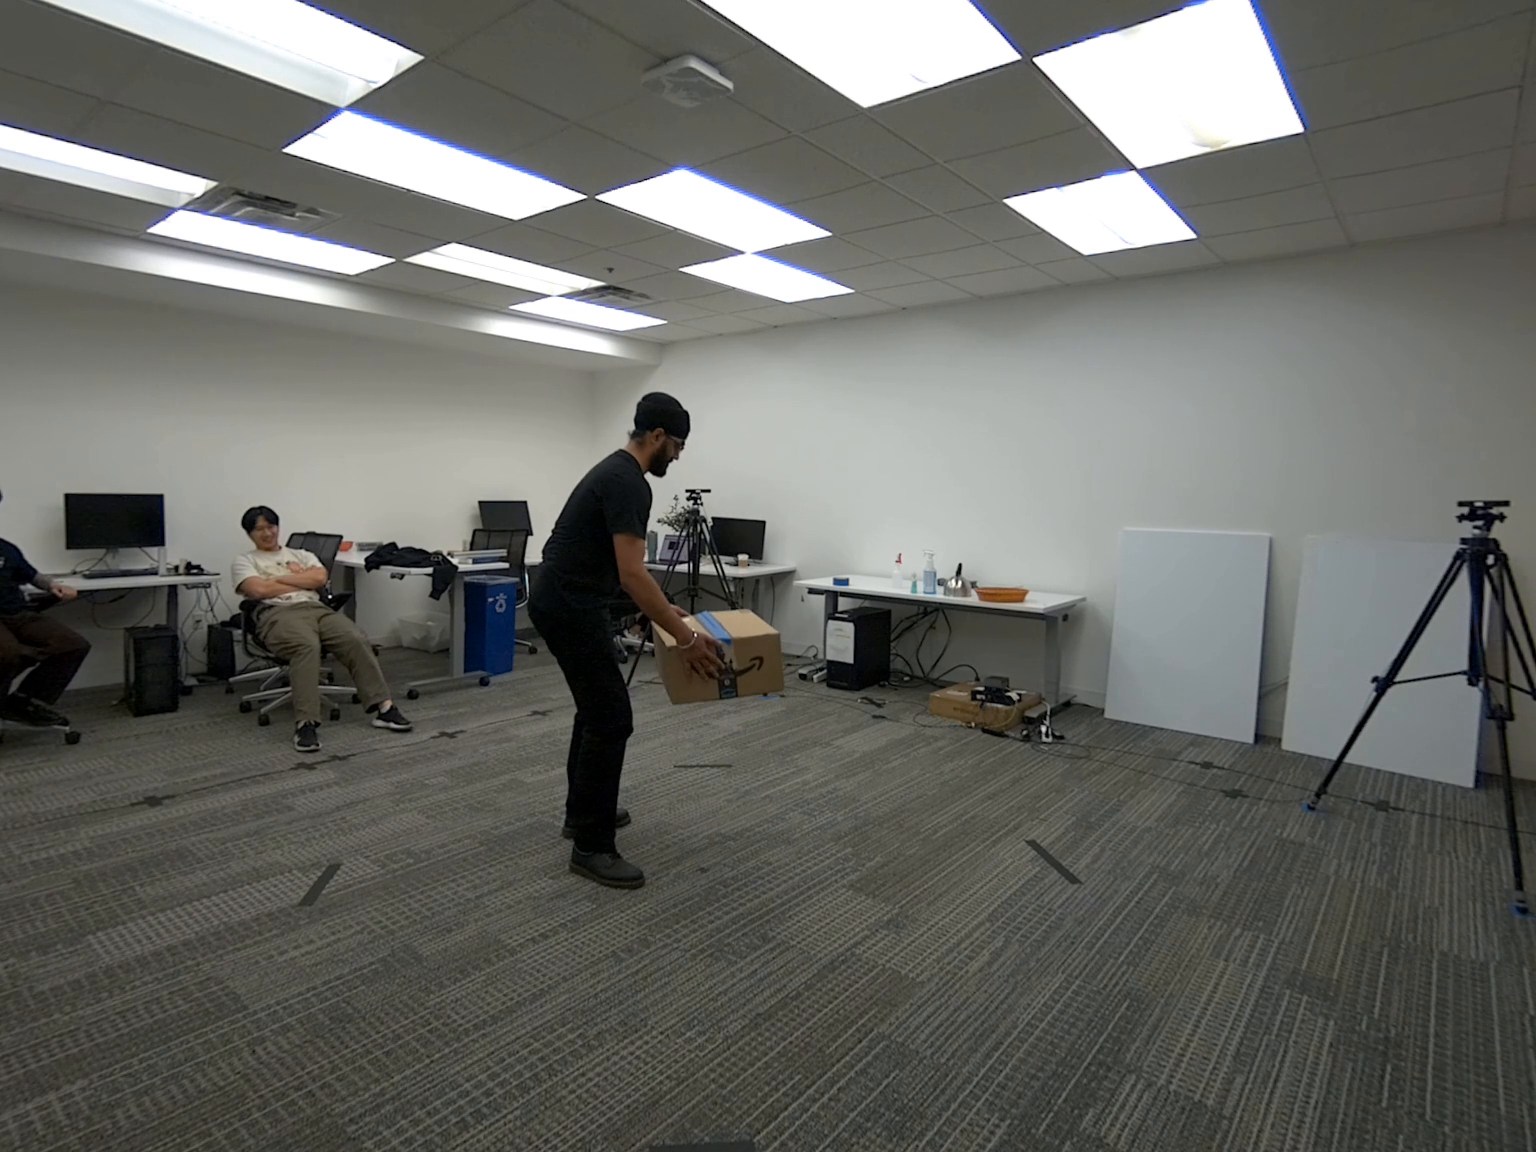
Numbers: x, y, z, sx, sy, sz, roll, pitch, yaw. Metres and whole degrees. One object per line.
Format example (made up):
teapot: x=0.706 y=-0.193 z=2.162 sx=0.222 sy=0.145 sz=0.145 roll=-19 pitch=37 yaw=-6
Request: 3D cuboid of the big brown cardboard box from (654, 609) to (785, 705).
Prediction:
big brown cardboard box: x=-0.224 y=0.303 z=3.327 sx=0.413 sy=0.231 sz=0.600 roll=-7 pitch=9 yaw=-12
